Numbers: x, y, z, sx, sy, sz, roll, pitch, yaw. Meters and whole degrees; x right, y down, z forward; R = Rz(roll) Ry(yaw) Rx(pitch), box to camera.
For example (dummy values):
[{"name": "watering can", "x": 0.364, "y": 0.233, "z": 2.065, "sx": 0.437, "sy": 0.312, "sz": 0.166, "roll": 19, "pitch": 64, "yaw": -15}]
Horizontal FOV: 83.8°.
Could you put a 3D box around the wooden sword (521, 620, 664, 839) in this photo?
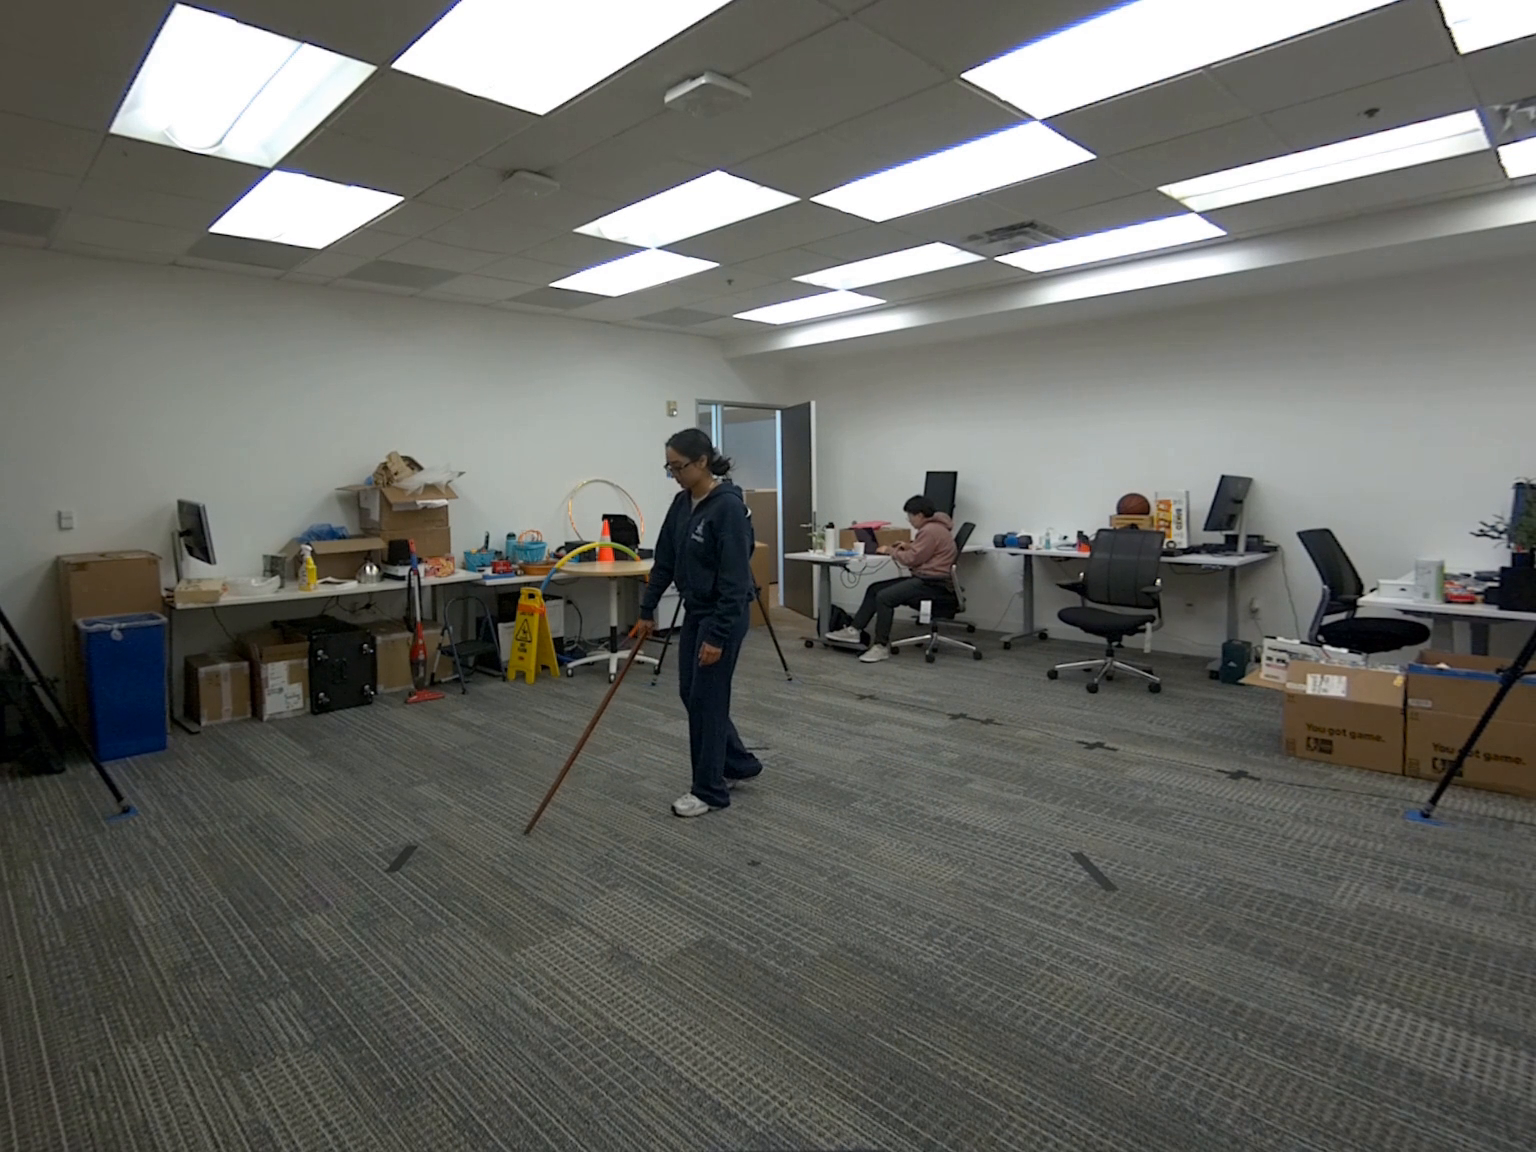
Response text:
[{"name": "wooden sword", "x": -0.724, "y": 0.619, "z": 3.619, "sx": 0.025, "sy": 1.031, "sz": 0.049, "roll": 6, "pitch": -33, "yaw": 41}]
